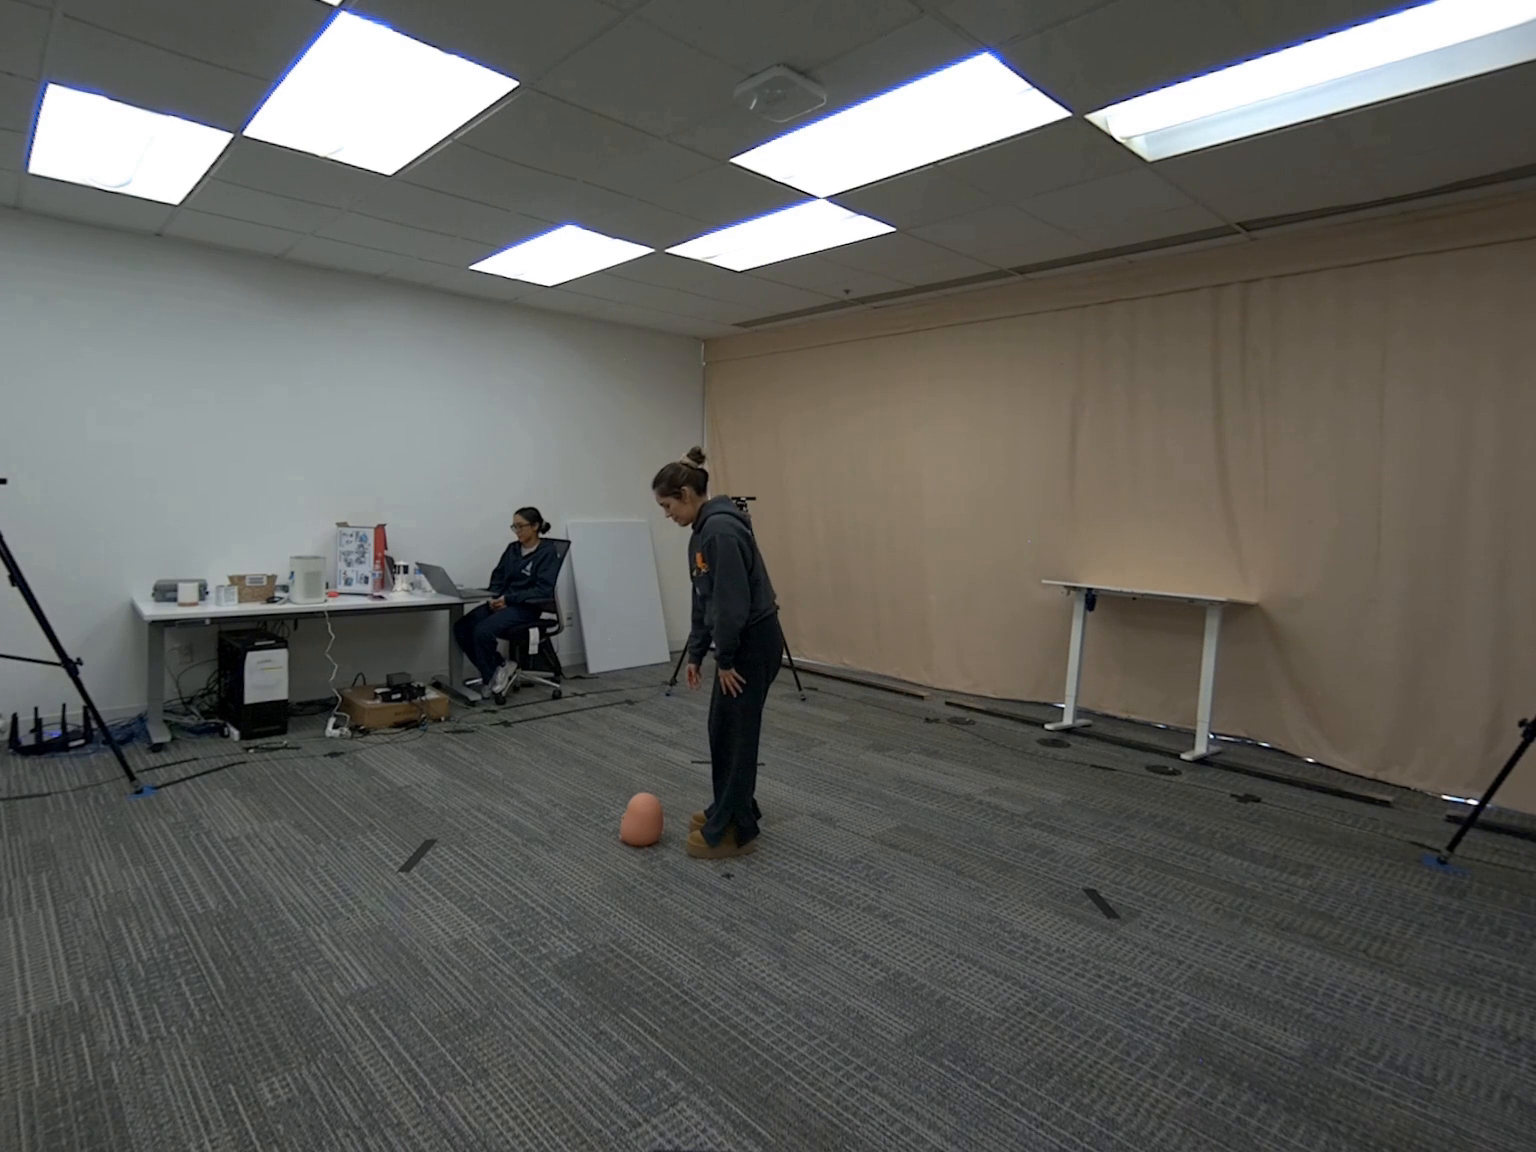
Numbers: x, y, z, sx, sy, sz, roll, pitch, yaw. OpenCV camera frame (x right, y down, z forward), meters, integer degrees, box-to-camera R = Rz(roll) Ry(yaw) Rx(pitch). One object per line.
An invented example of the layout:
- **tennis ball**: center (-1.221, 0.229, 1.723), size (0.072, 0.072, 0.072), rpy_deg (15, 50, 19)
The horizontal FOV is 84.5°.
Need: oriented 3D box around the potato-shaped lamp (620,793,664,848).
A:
- **potato-shaped lamp**: center (-0.509, 0.965, 3.401), size (0.175, 0.197, 0.161), rpy_deg (4, 5, 38)
